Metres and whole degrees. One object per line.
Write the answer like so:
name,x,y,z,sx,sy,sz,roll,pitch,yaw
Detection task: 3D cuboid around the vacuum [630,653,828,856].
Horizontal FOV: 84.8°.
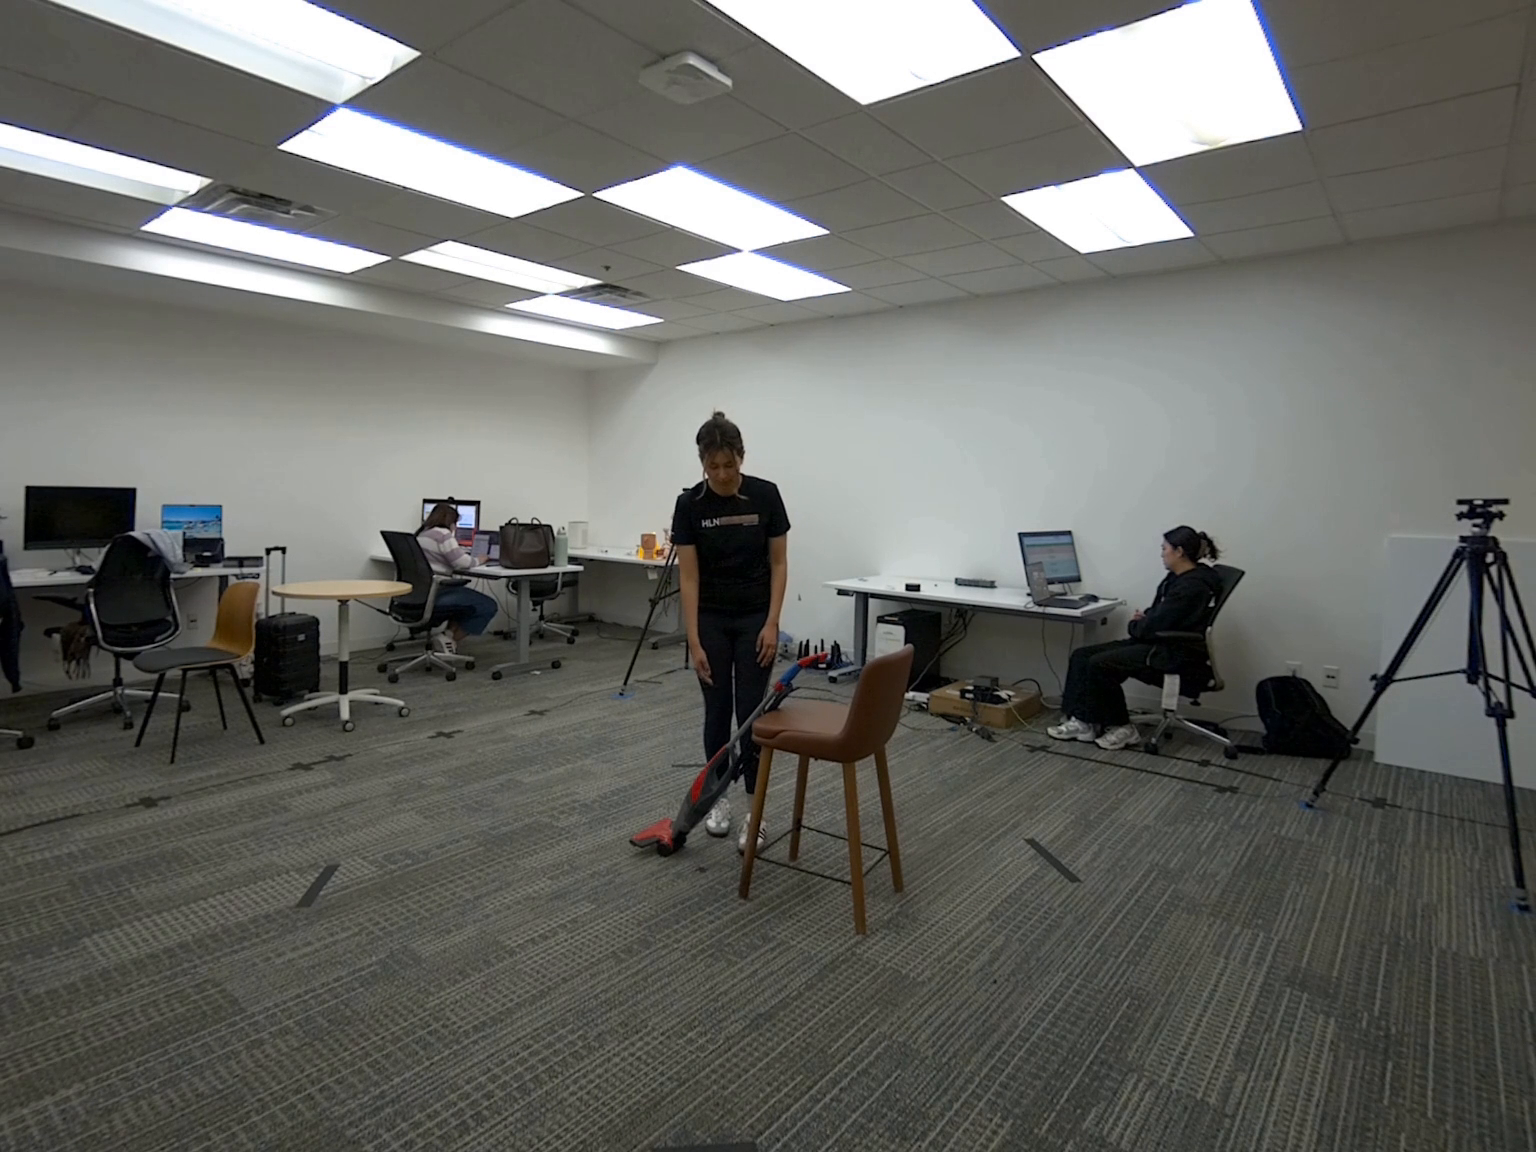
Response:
vacuum,-0.123,0.646,3.109,0.148,1.047,0.246,46,22,17
